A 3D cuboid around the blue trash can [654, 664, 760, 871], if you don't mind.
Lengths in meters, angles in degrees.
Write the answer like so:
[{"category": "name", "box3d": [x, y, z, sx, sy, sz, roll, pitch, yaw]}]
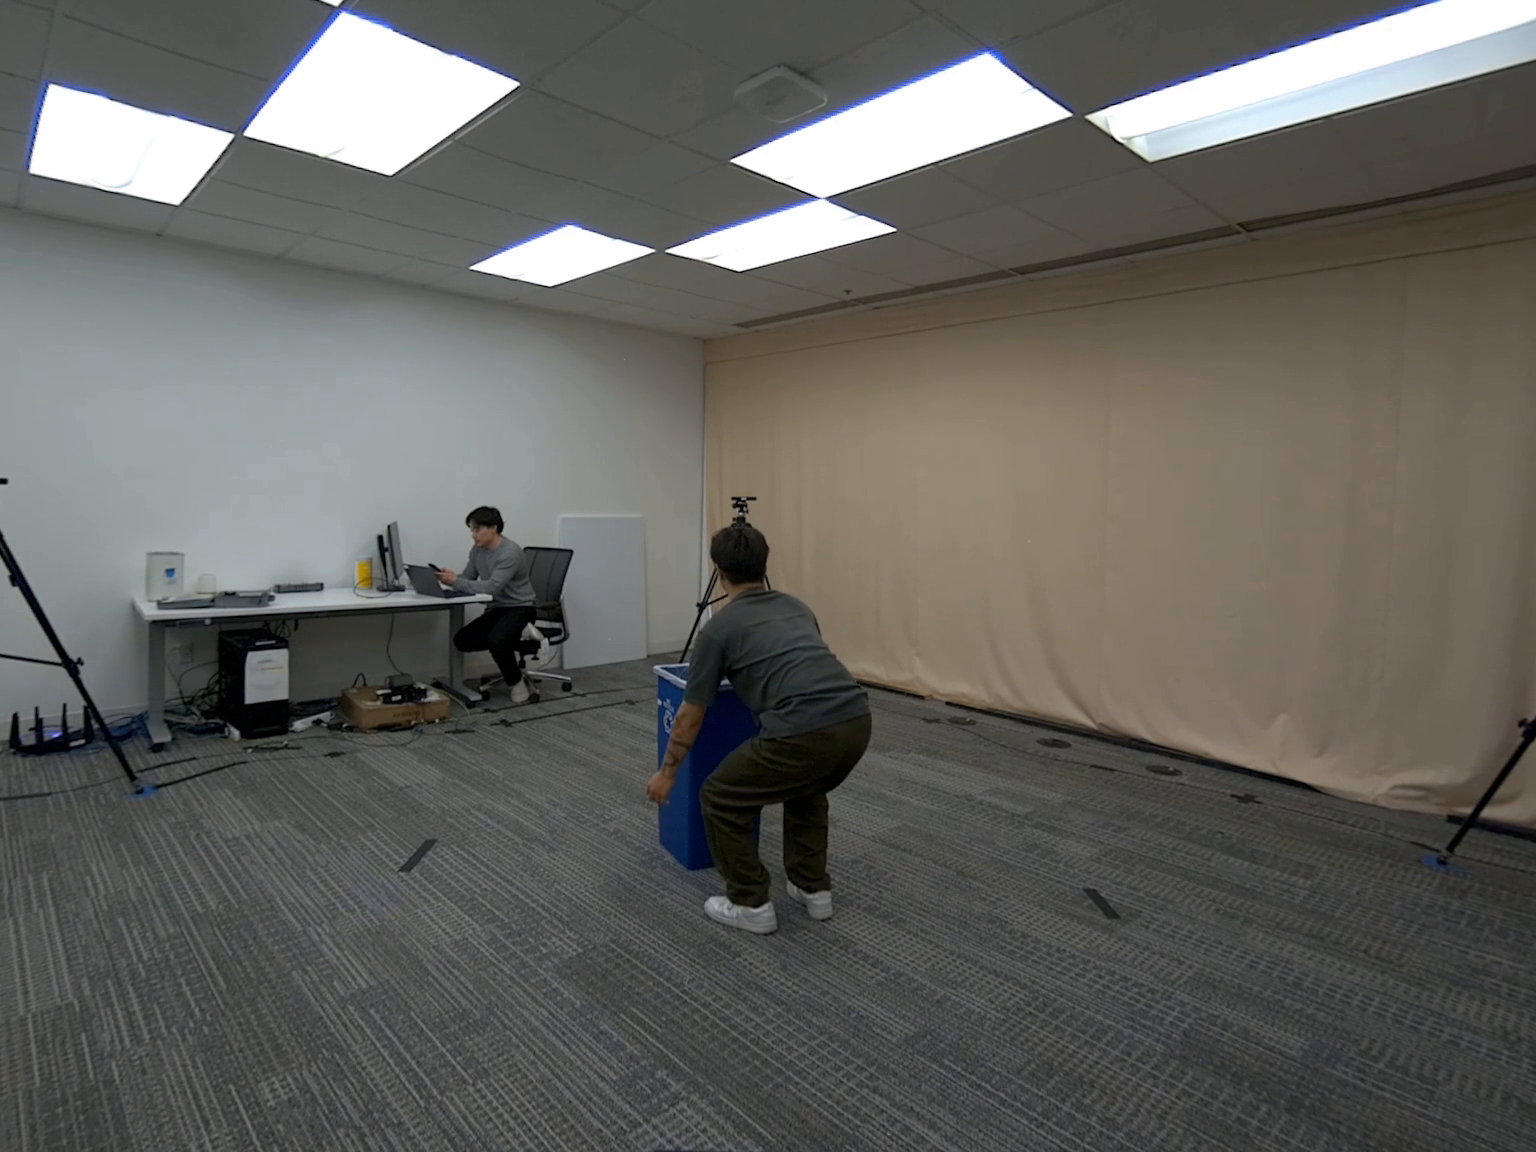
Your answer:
[{"category": "blue trash can", "box3d": [-0.238, 0.729, 3.305, 0.366, 0.712, 0.387, 0, 4, -29]}]
